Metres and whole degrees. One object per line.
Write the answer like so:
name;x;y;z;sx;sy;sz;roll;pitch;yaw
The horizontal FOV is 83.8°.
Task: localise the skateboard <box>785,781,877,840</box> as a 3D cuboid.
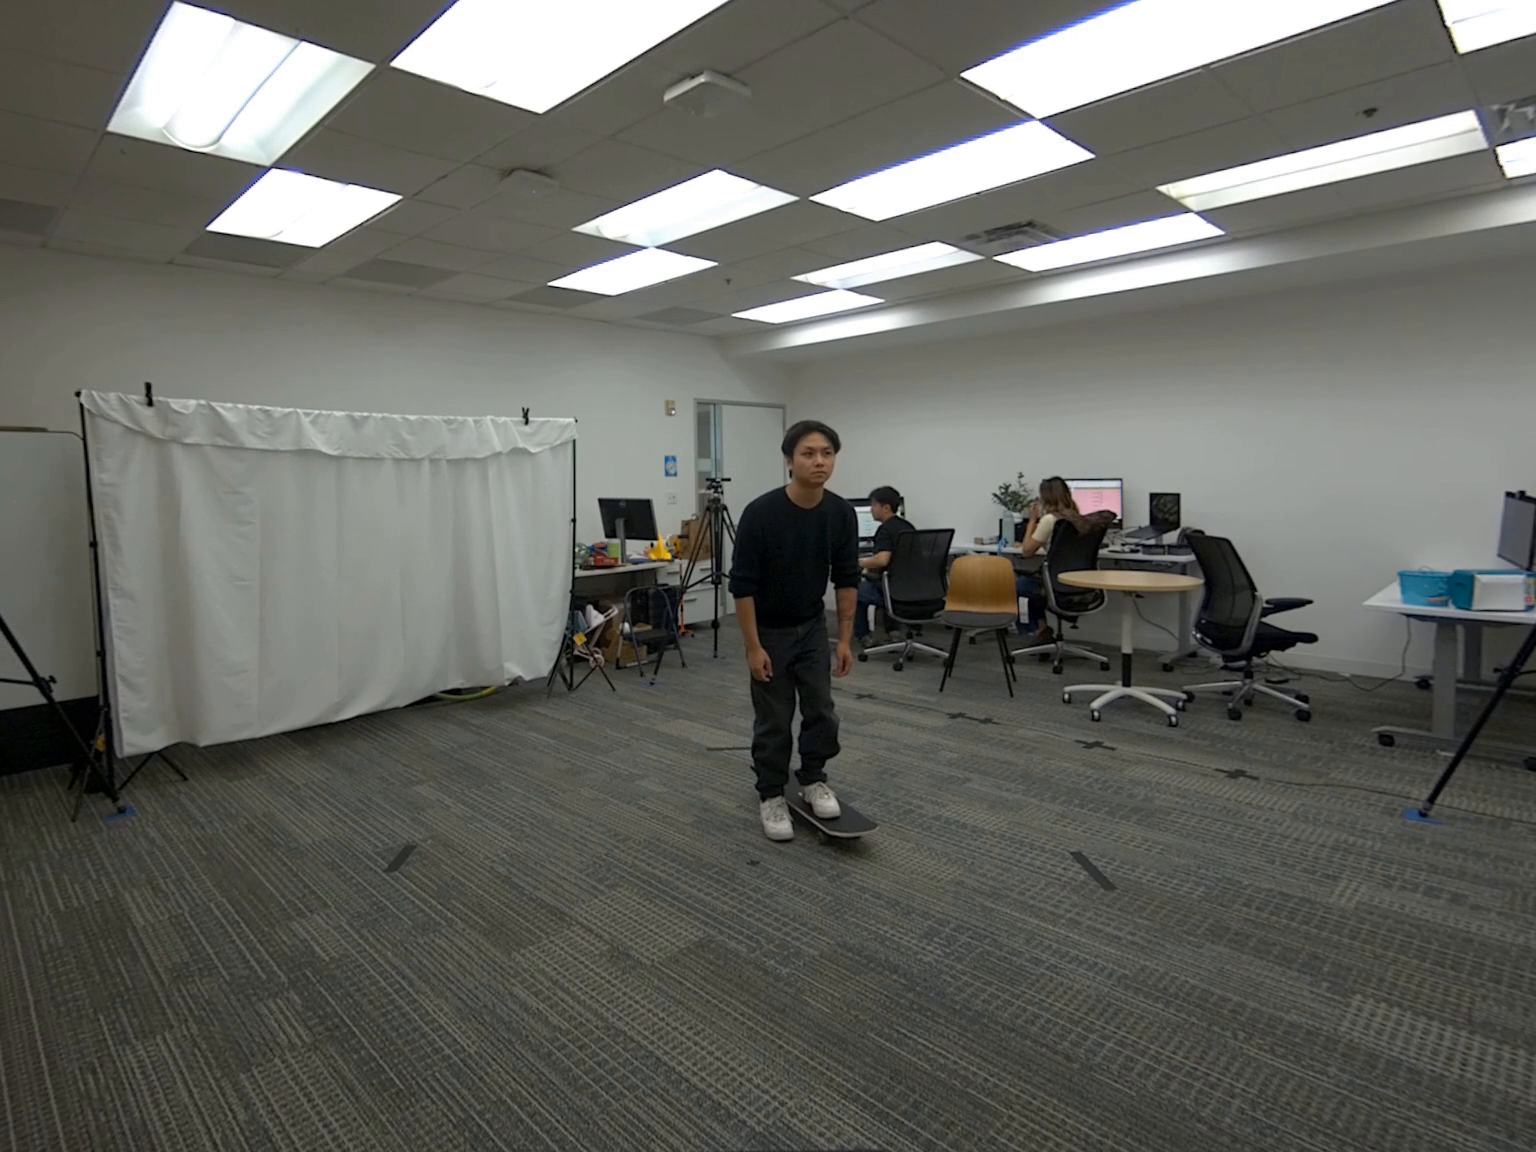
skateboard;0.199;0.944;3.462;0.190;0.110;0.804;-5;7;-24
